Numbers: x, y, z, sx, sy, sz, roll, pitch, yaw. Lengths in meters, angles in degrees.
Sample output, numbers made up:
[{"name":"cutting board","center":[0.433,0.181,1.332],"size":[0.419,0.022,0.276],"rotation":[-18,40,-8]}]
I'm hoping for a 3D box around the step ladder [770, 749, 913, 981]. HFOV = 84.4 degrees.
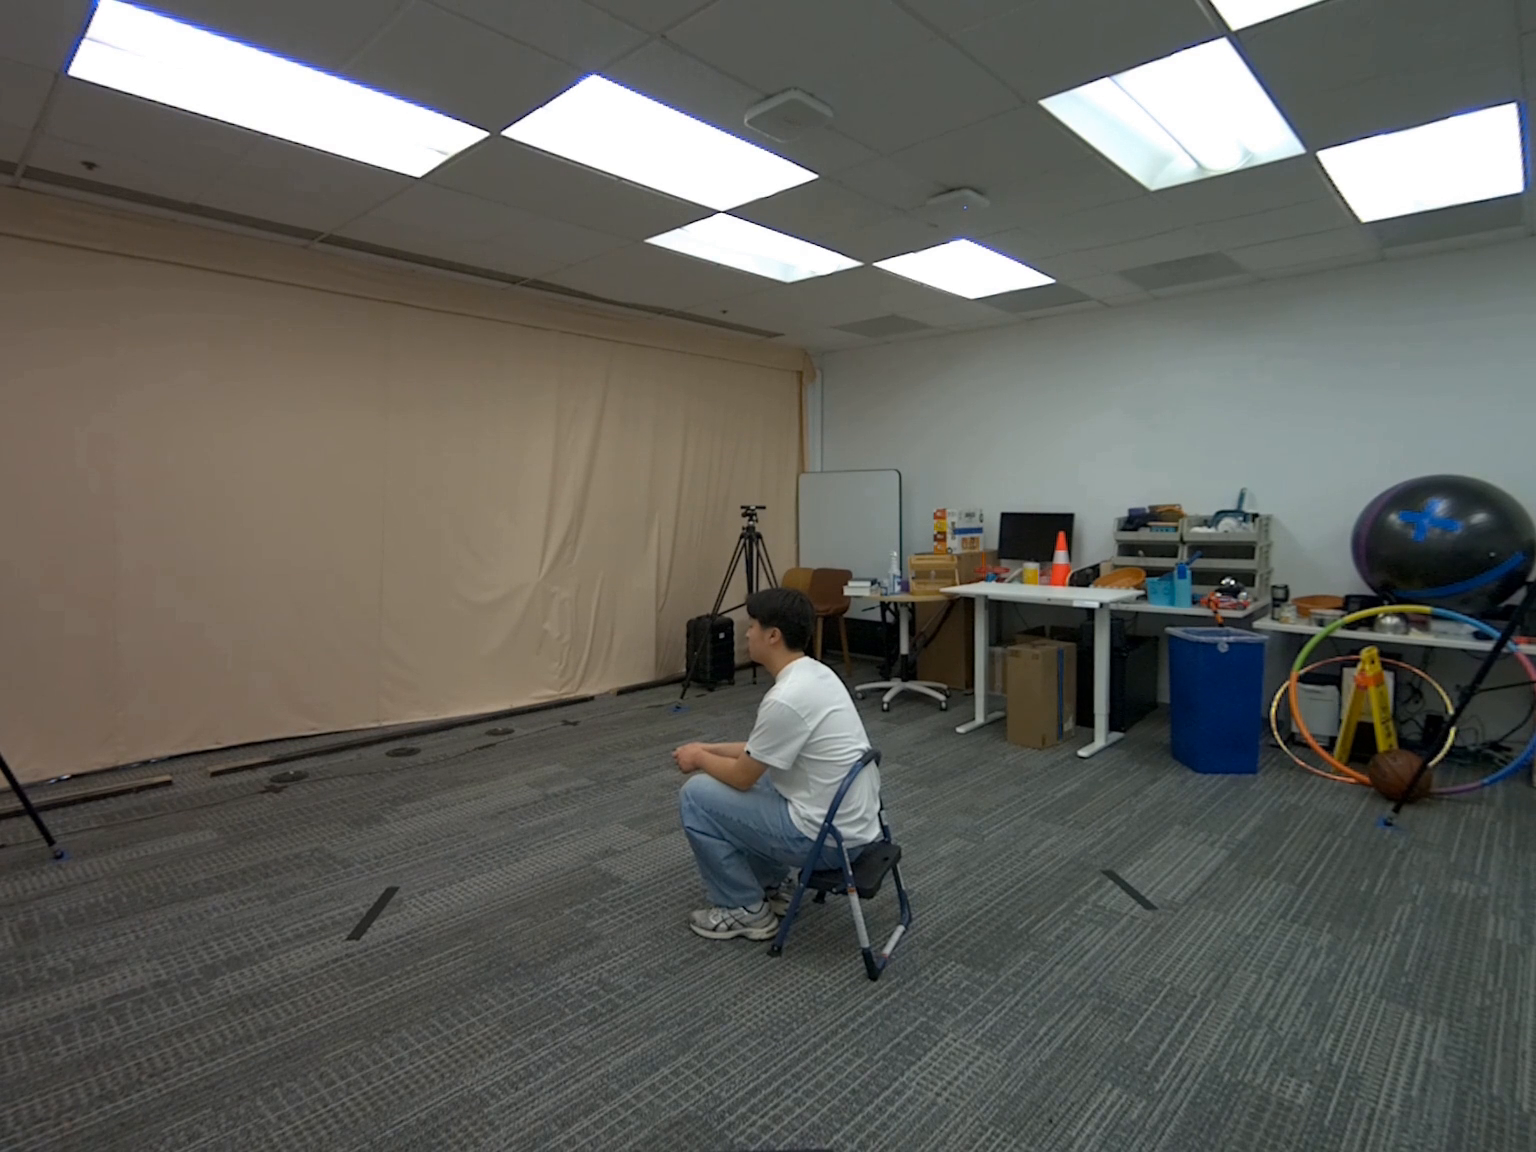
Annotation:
[{"name":"step ladder","center":[0.251,0.868,2.694],"size":[0.358,0.604,0.420],"rotation":[2,5,26]}]
